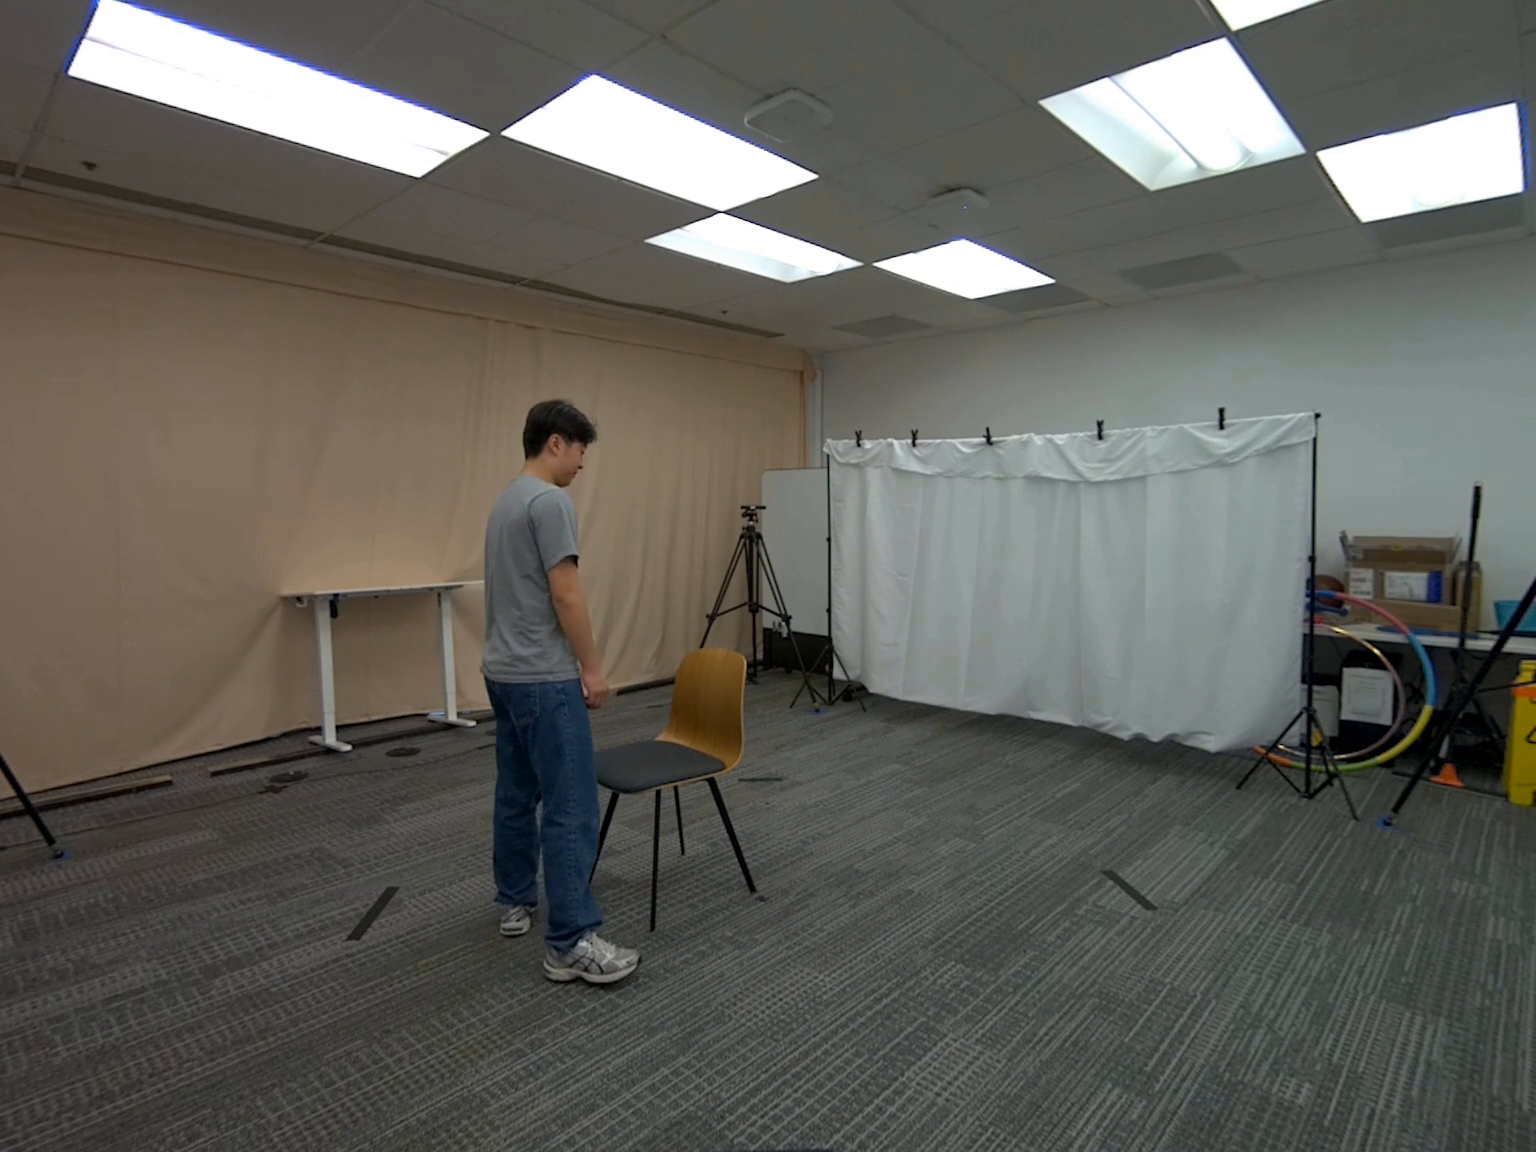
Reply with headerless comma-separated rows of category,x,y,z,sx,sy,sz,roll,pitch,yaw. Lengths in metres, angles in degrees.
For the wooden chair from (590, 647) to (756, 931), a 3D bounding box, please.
wooden chair,-0.365,0.715,3.037,0.506,0.877,0.494,2,1,-40
